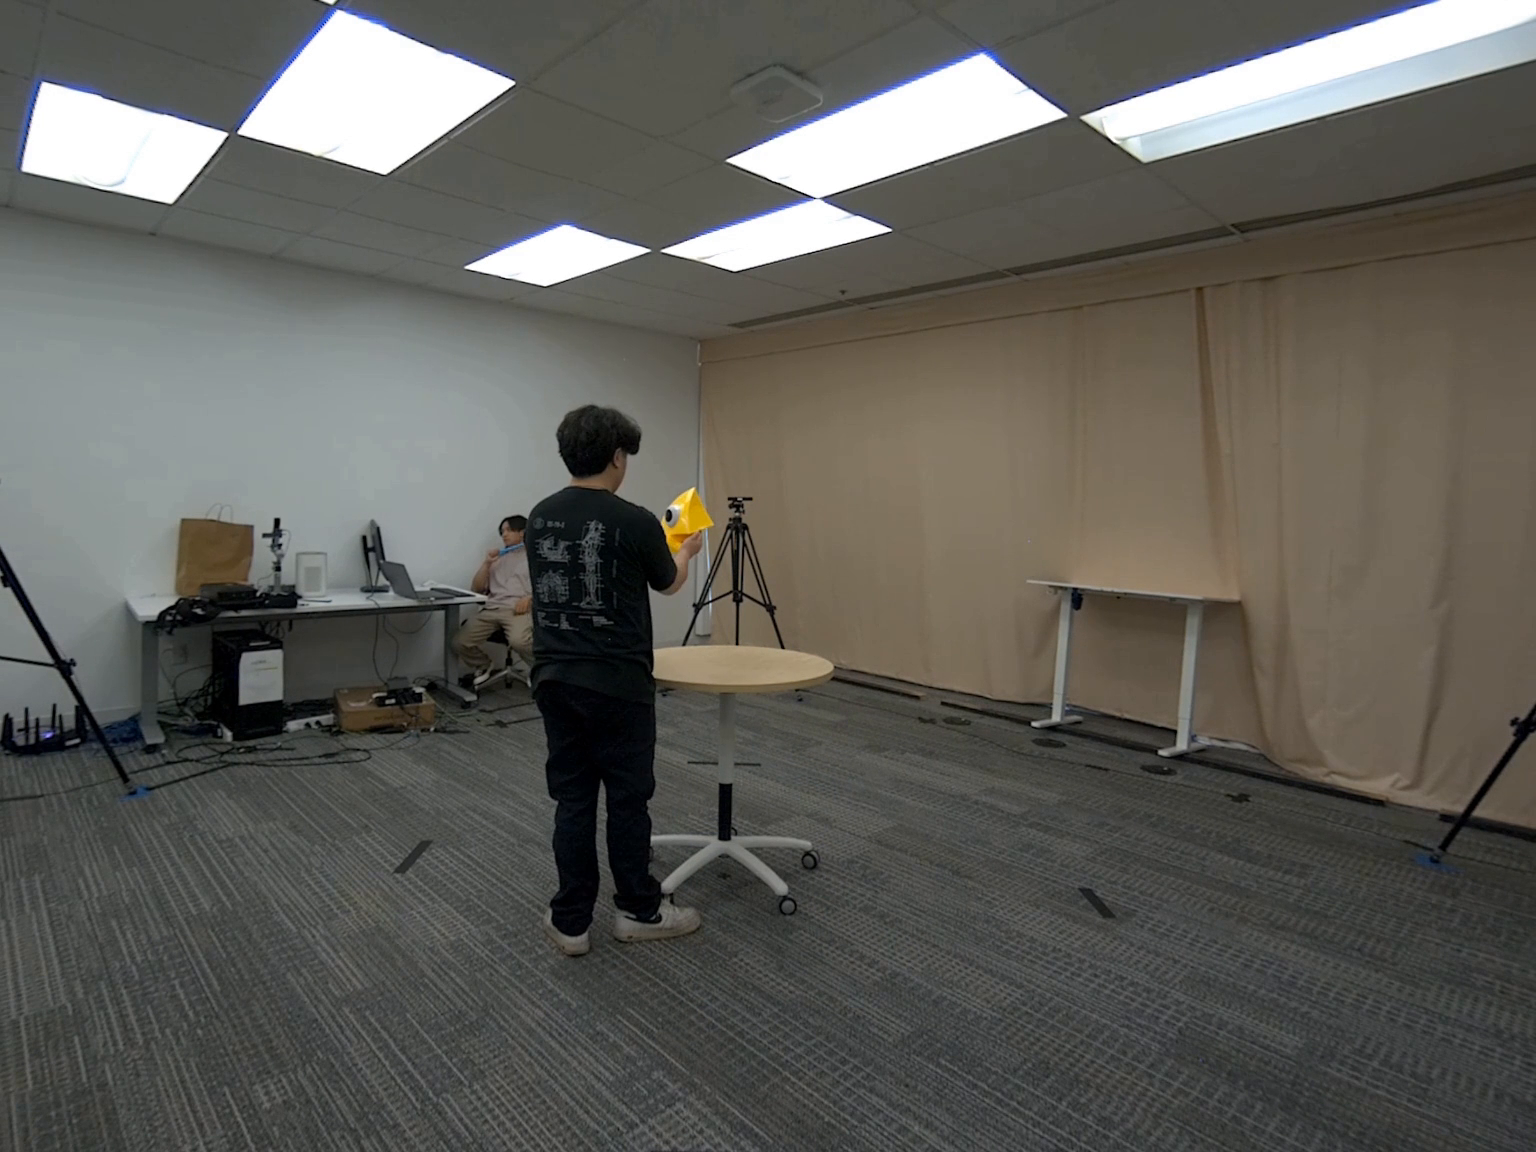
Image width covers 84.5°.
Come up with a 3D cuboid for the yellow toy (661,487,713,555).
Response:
[{"bbox_3d":[-0.329,-0.214,3.083,0.196,0.229,0.203,5,12,19],"label":"yellow toy"}]
